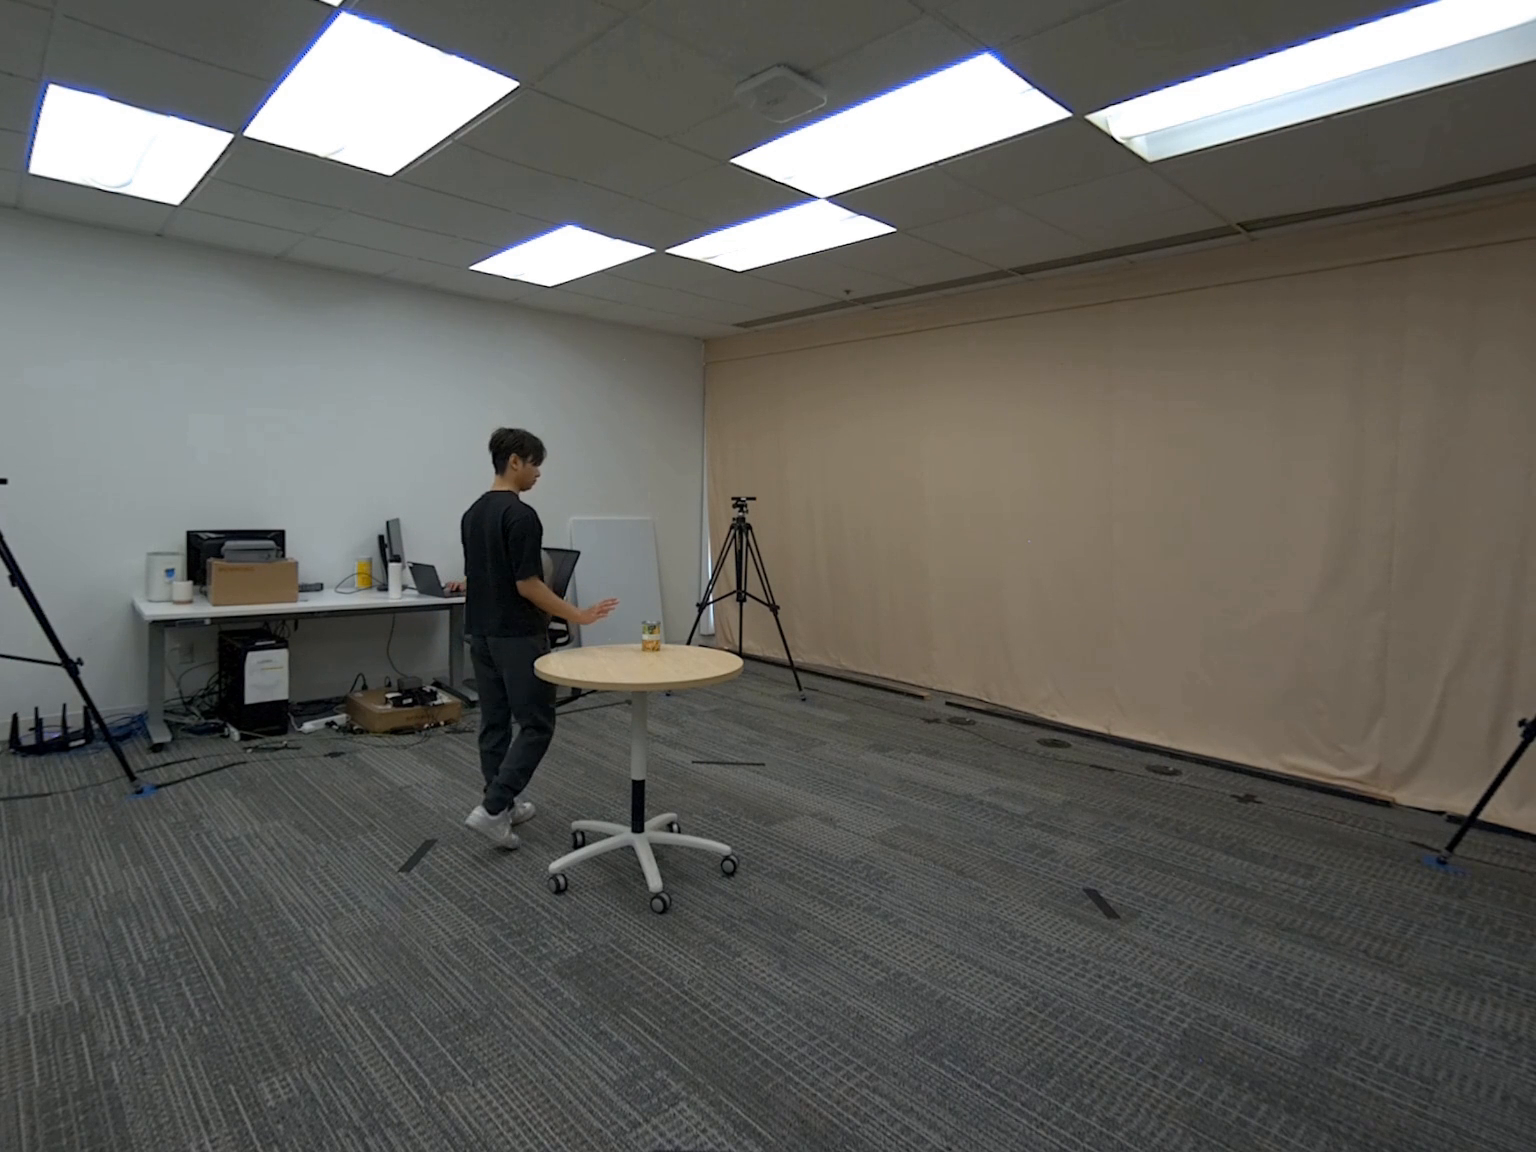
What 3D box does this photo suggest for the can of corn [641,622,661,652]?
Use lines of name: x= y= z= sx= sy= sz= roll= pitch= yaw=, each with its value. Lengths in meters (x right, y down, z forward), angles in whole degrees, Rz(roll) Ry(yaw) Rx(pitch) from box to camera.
can of corn: x=-0.478 y=0.240 z=3.335 sx=0.074 sy=0.111 sz=0.074 roll=0 pitch=0 yaw=-1
